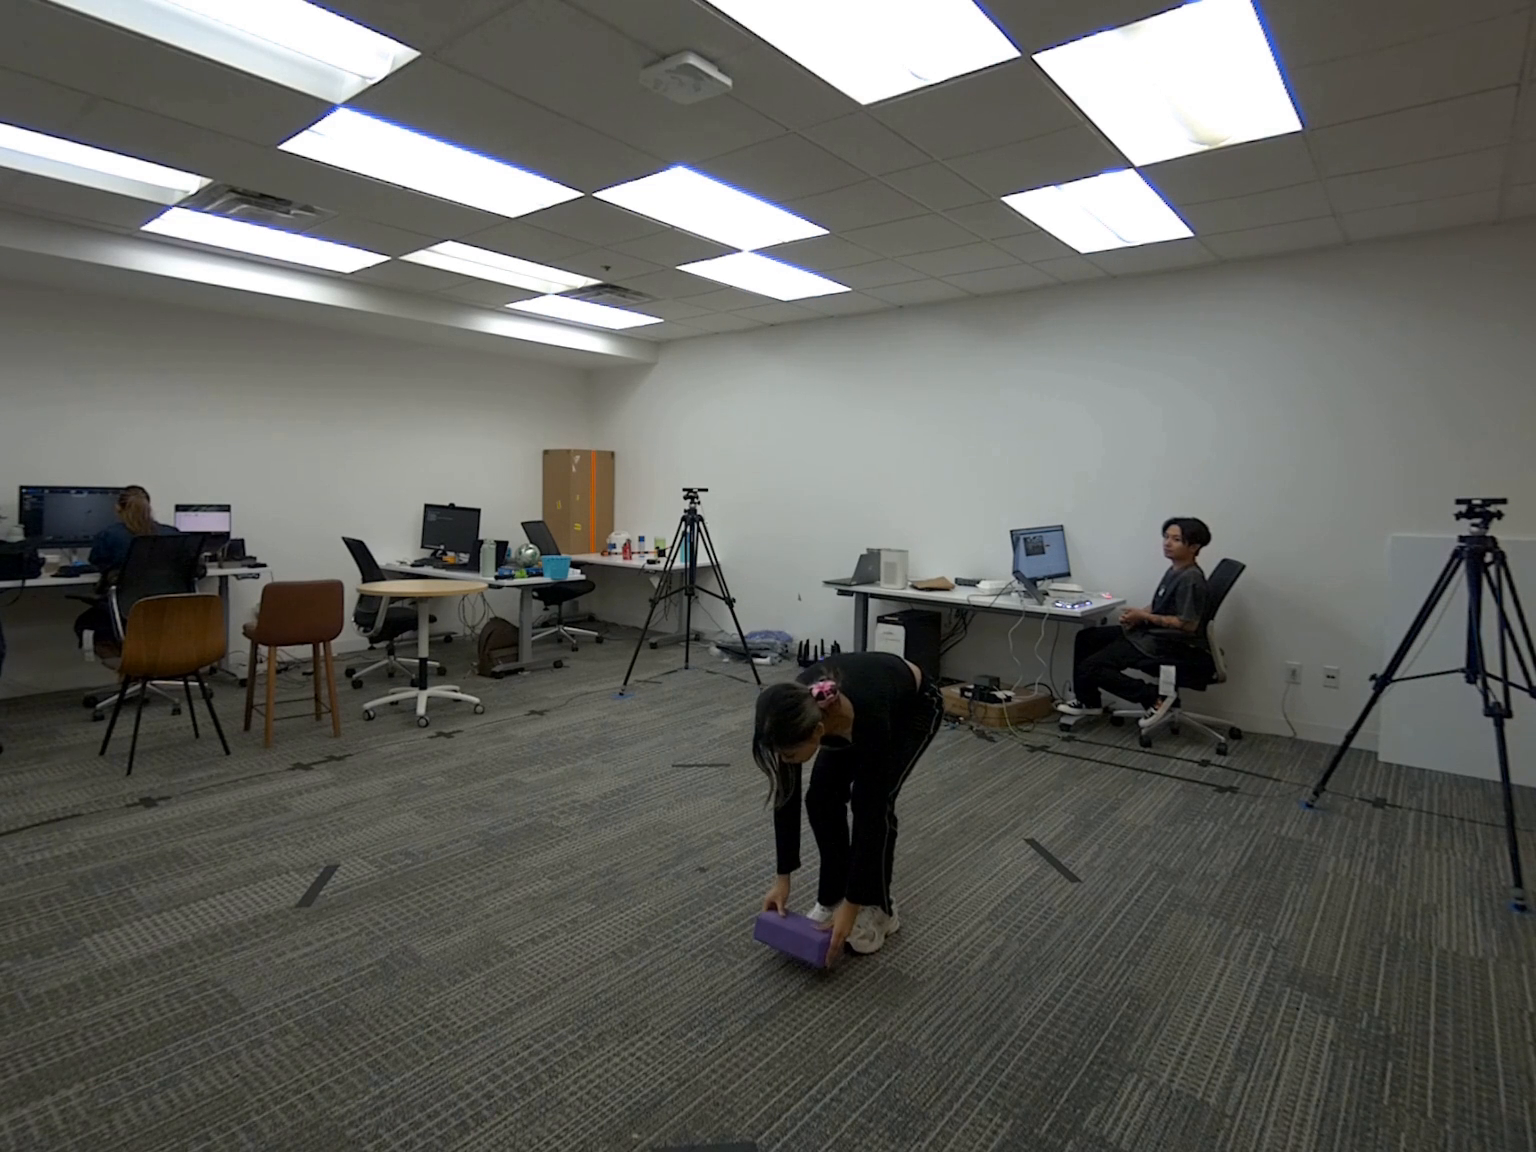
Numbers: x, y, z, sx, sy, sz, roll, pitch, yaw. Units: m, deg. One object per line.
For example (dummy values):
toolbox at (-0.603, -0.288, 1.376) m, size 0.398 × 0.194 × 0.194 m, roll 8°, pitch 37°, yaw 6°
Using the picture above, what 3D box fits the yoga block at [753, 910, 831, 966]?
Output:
yoga block at (0.091, 1.042, 2.502) m, size 0.237 × 0.077 × 0.143 m, roll 3°, pitch -7°, yaw 36°
